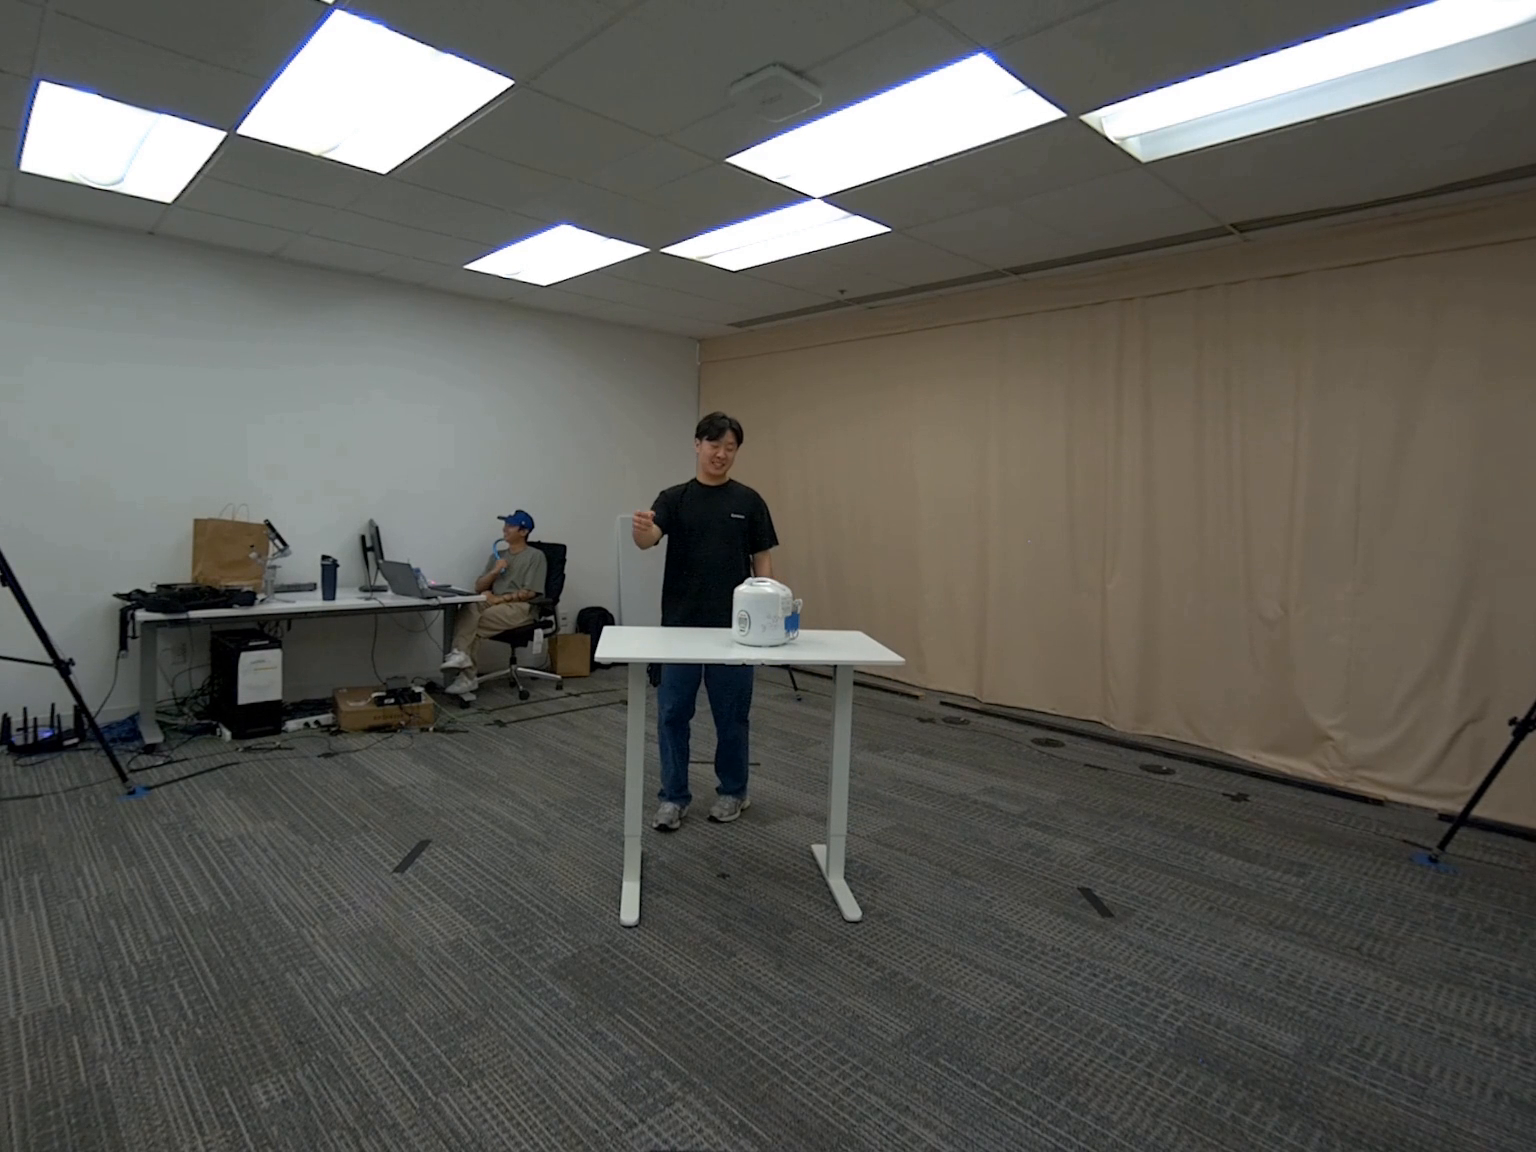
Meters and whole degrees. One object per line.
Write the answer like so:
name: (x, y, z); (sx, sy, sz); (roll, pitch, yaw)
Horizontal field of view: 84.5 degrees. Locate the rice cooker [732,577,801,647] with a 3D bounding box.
rice cooker: (-0.027, 0.124, 2.973); (0.226, 0.232, 0.212); (5, 4, 38)
